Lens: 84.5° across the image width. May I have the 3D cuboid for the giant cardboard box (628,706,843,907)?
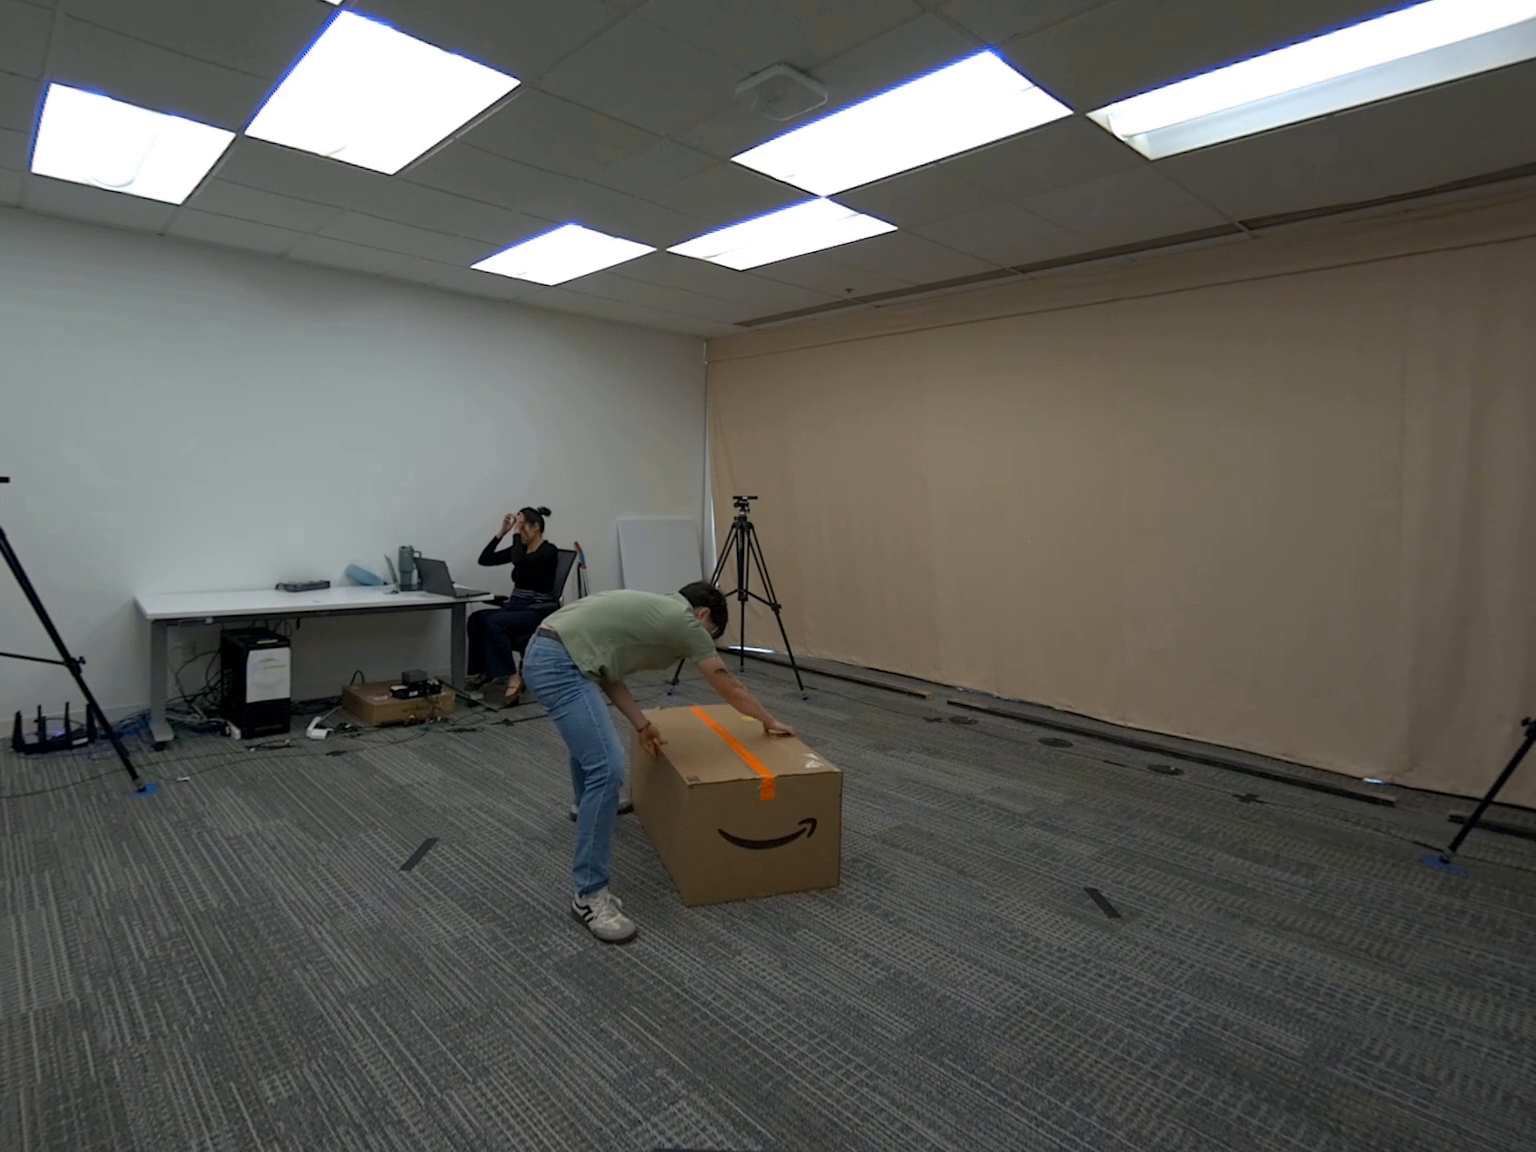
[{"bbox_3d":[-0.184,0.860,3.403,0.569,0.425,1.043,0,5,-19],"label":"giant cardboard box"}]
